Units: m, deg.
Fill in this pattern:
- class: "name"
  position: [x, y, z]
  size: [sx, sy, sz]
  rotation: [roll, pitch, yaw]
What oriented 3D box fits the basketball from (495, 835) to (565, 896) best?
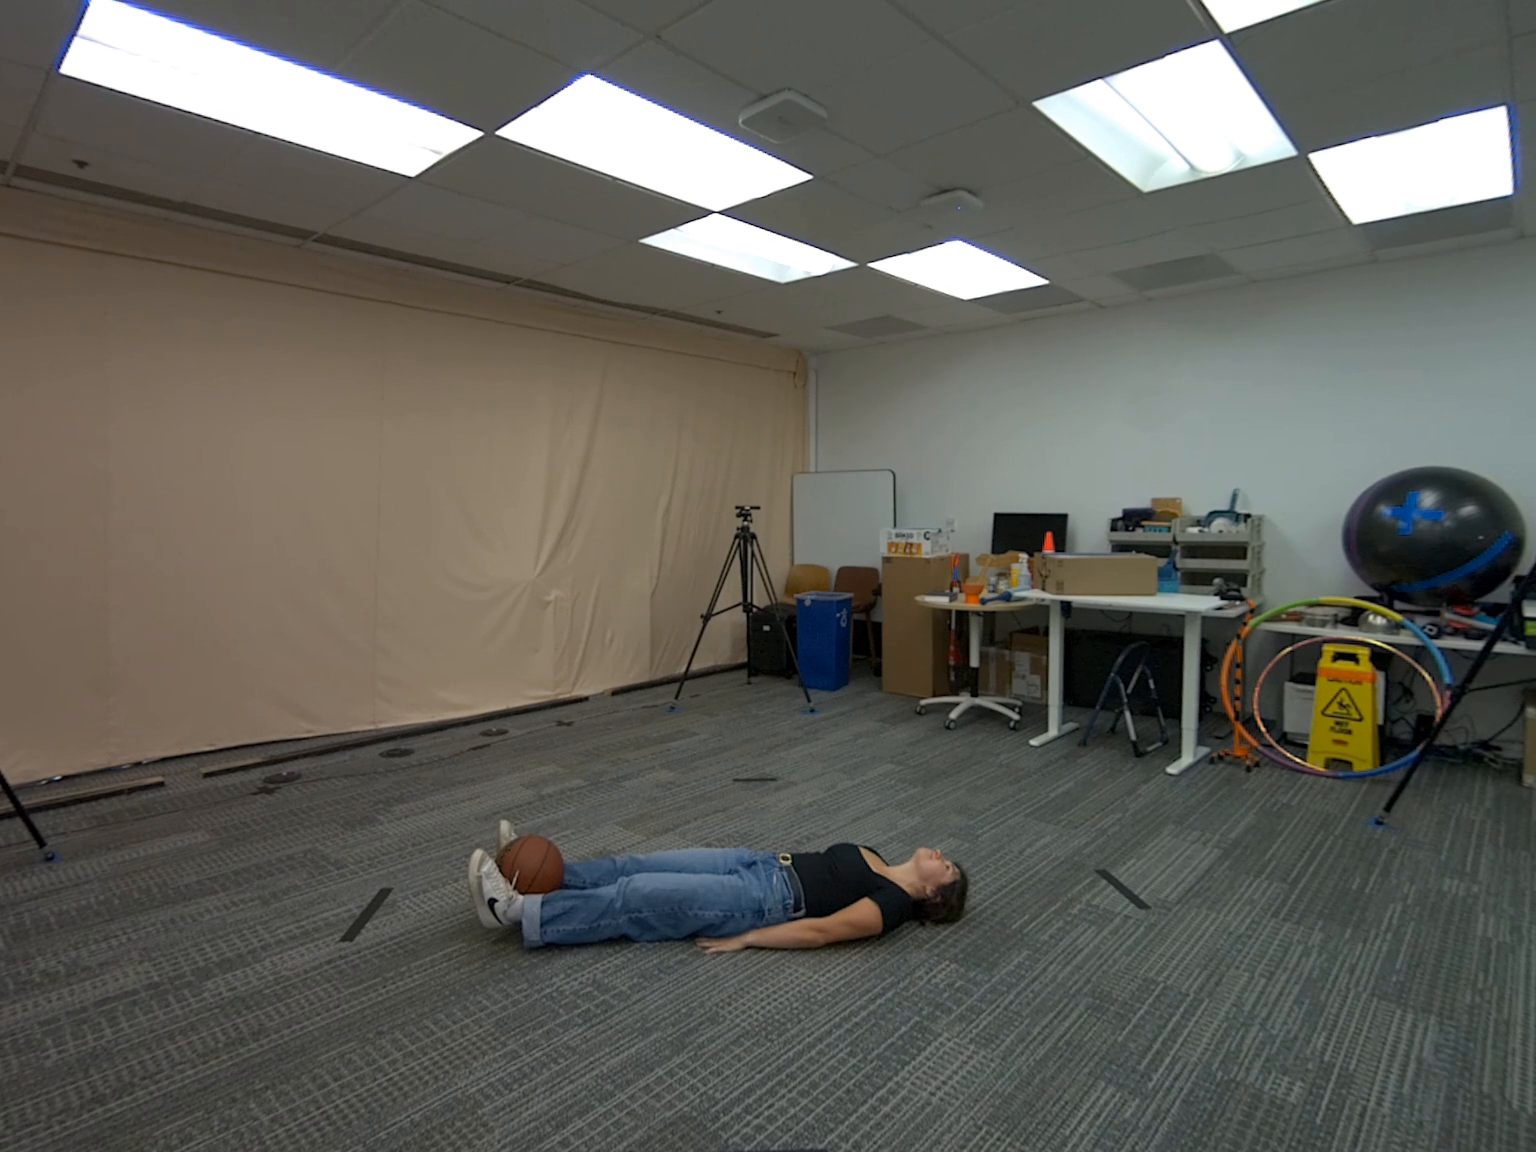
- class: "basketball"
  position: [-0.796, 0.986, 2.809]
  size: [0.236, 0.235, 0.237]
  rotation: [0, 4, -2]
